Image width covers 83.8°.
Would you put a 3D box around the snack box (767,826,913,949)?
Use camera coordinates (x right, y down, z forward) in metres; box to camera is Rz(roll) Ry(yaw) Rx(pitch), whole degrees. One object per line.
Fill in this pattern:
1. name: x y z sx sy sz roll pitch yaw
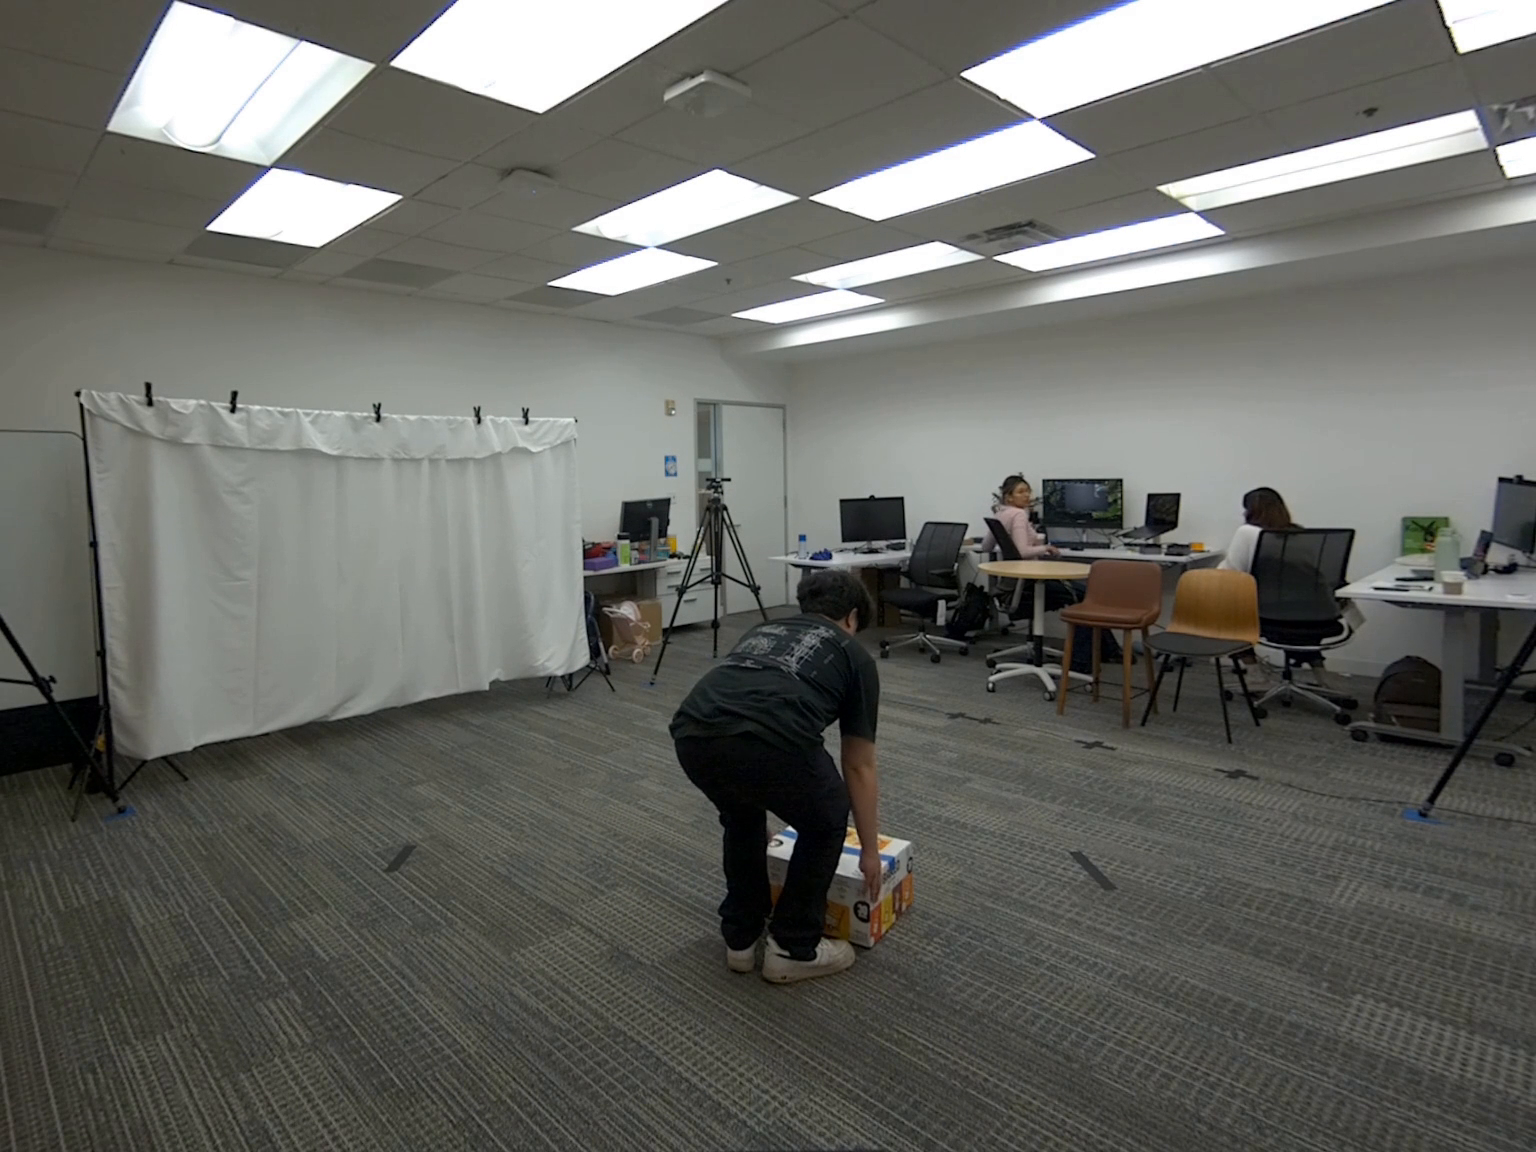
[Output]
1. snack box: 0.215 0.971 2.758 0.416 0.205 0.332 3 5 32
